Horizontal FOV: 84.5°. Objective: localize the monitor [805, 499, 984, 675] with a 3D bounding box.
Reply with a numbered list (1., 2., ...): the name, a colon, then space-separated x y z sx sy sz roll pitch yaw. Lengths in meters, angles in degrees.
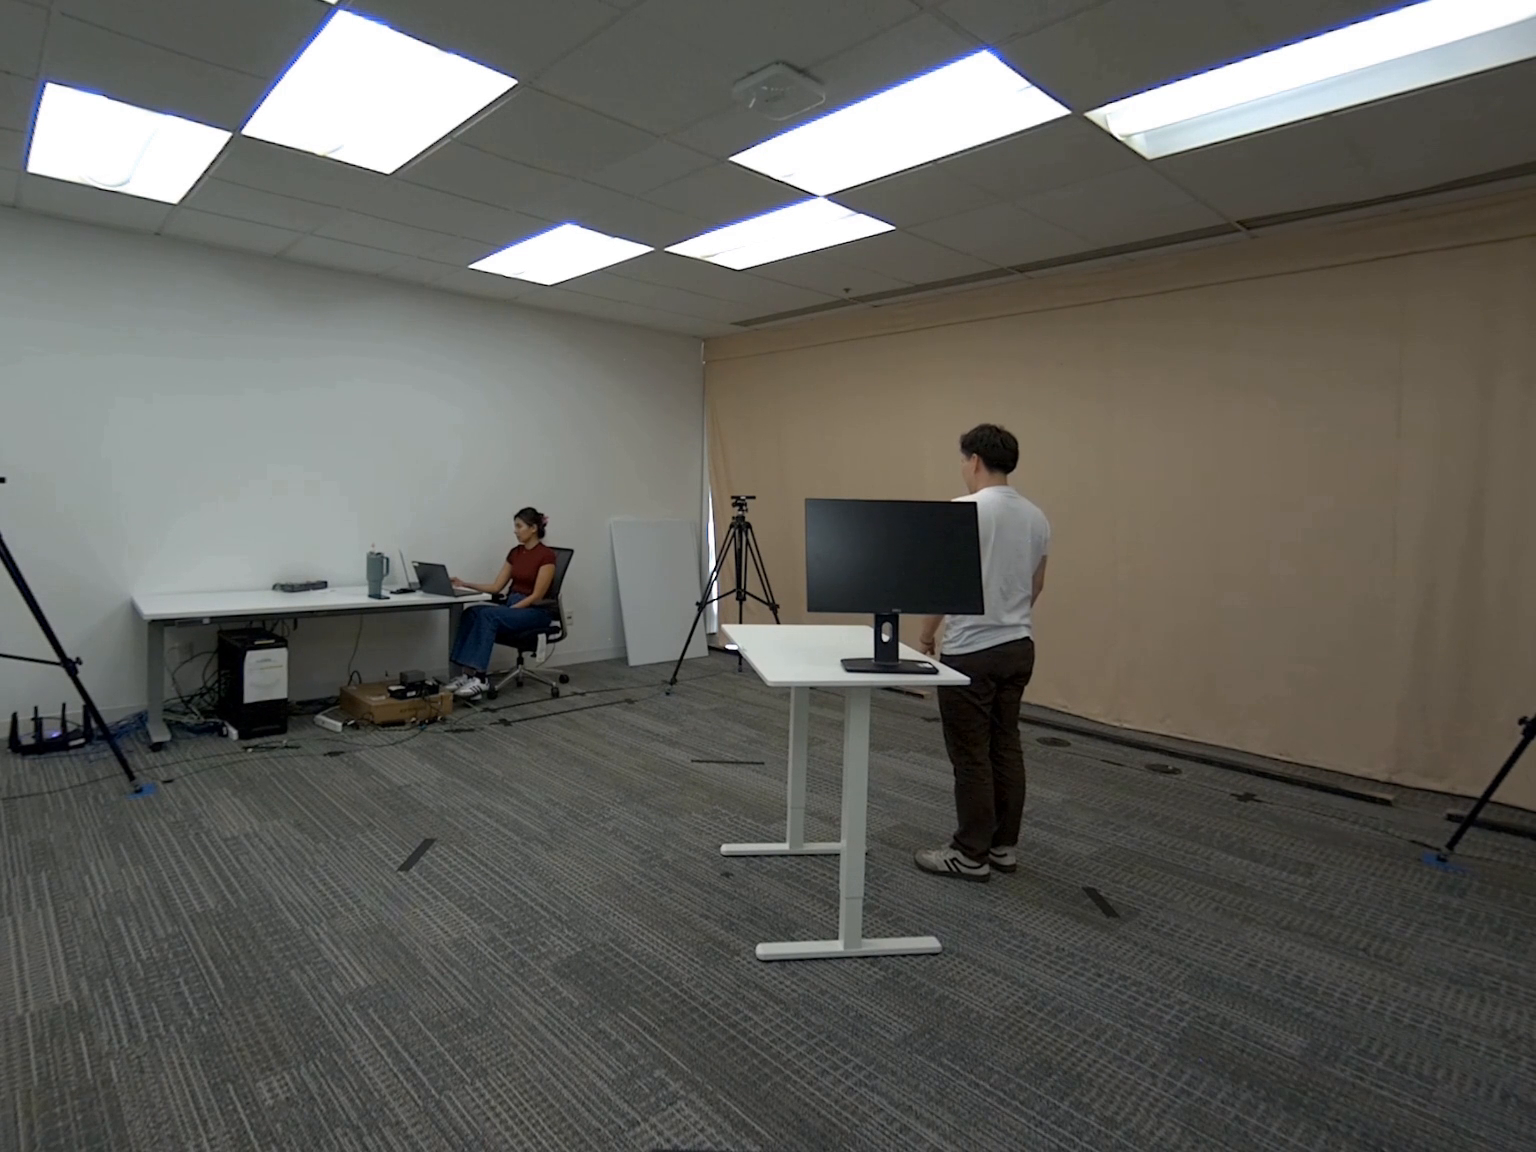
1. monitor: 0.371 0.030 2.569 0.537 0.522 0.187 1 0 -3
